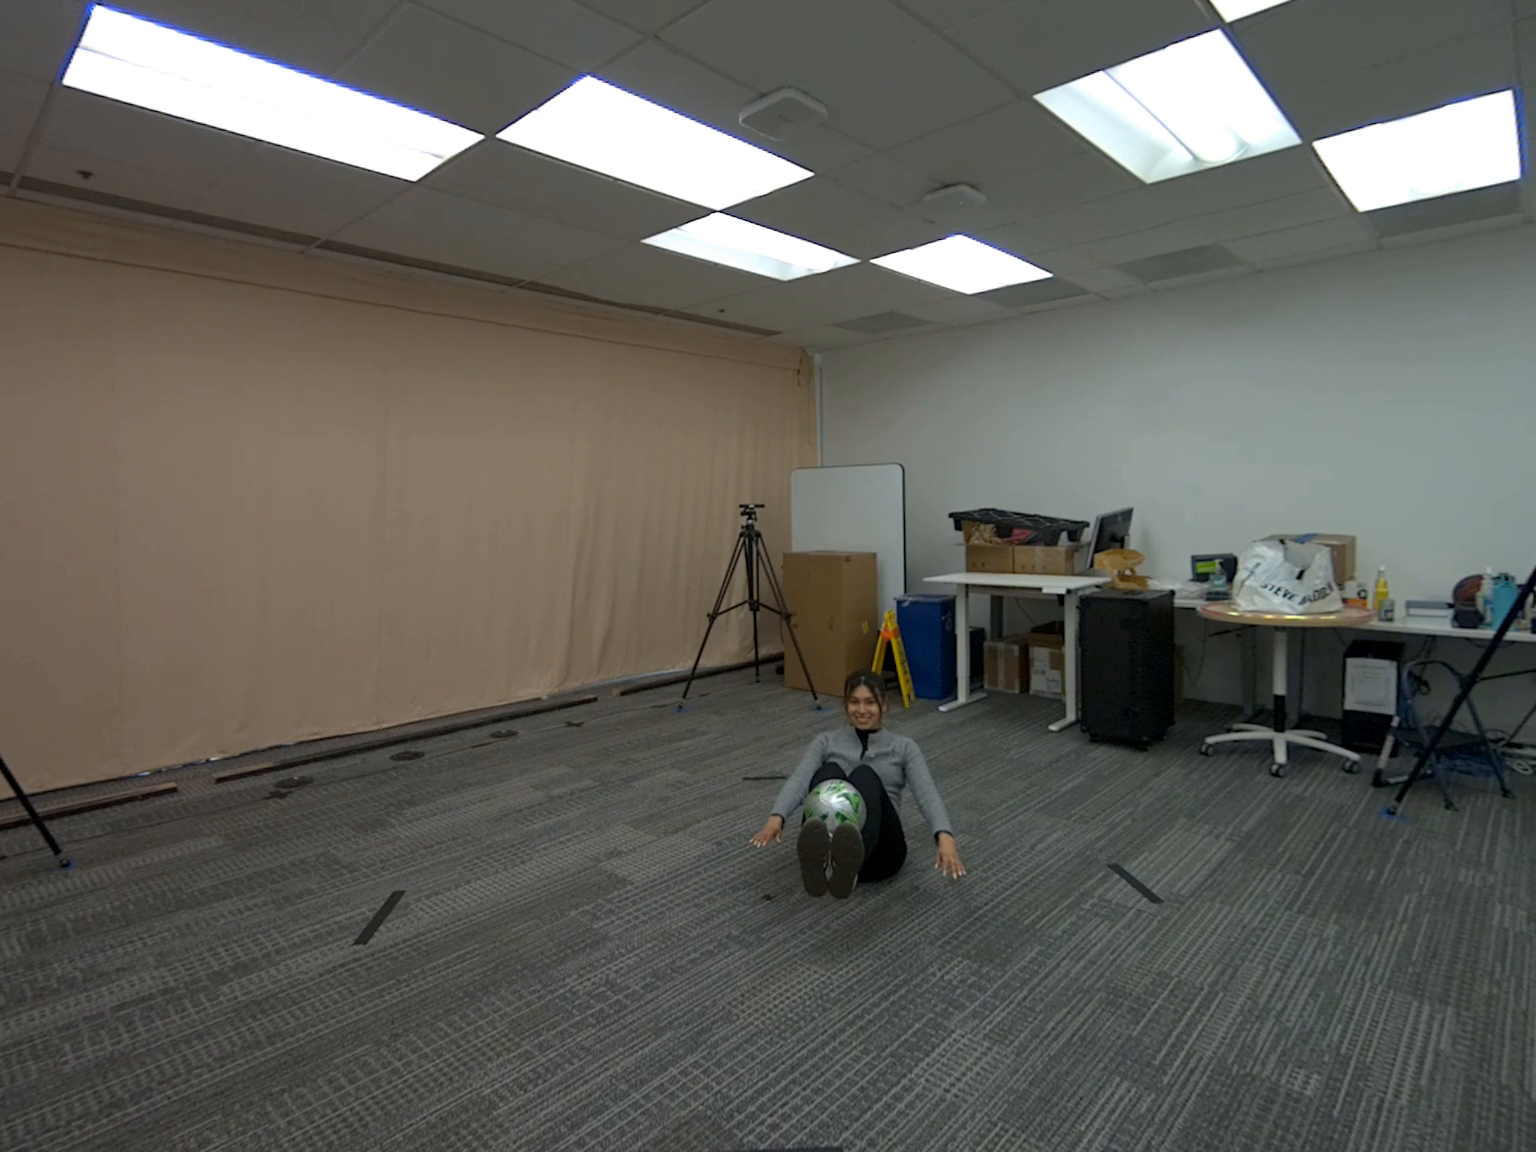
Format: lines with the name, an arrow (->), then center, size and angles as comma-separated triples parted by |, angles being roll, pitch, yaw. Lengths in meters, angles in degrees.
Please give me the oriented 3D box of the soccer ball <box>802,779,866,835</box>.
soccer ball -> 0.212, 0.726, 2.591 | 0.187, 0.187, 0.188 | -1, 4, -2
